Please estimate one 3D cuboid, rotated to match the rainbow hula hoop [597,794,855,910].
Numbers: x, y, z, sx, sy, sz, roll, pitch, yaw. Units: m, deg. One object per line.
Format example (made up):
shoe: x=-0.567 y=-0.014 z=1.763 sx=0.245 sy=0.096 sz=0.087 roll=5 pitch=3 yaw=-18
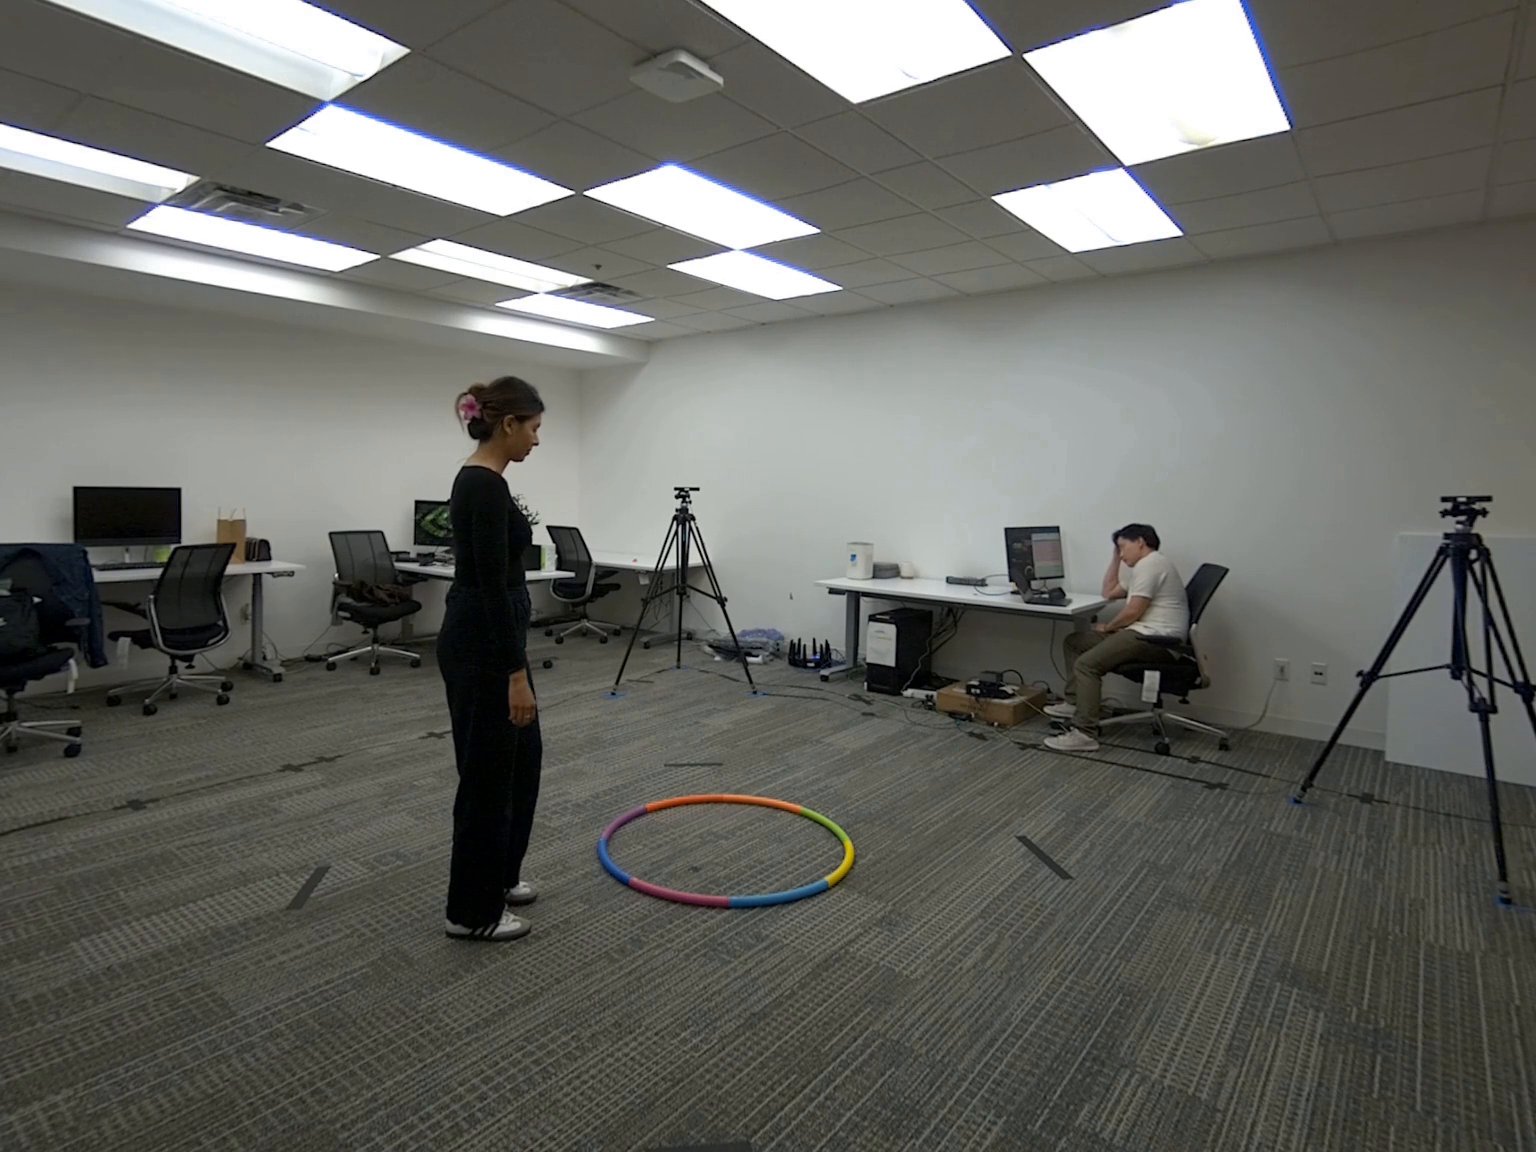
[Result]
rainbow hula hoop: x=-0.170 y=1.020 z=3.294 sx=0.978 sy=0.035 sz=0.984 roll=1 pitch=6 yaw=-2
